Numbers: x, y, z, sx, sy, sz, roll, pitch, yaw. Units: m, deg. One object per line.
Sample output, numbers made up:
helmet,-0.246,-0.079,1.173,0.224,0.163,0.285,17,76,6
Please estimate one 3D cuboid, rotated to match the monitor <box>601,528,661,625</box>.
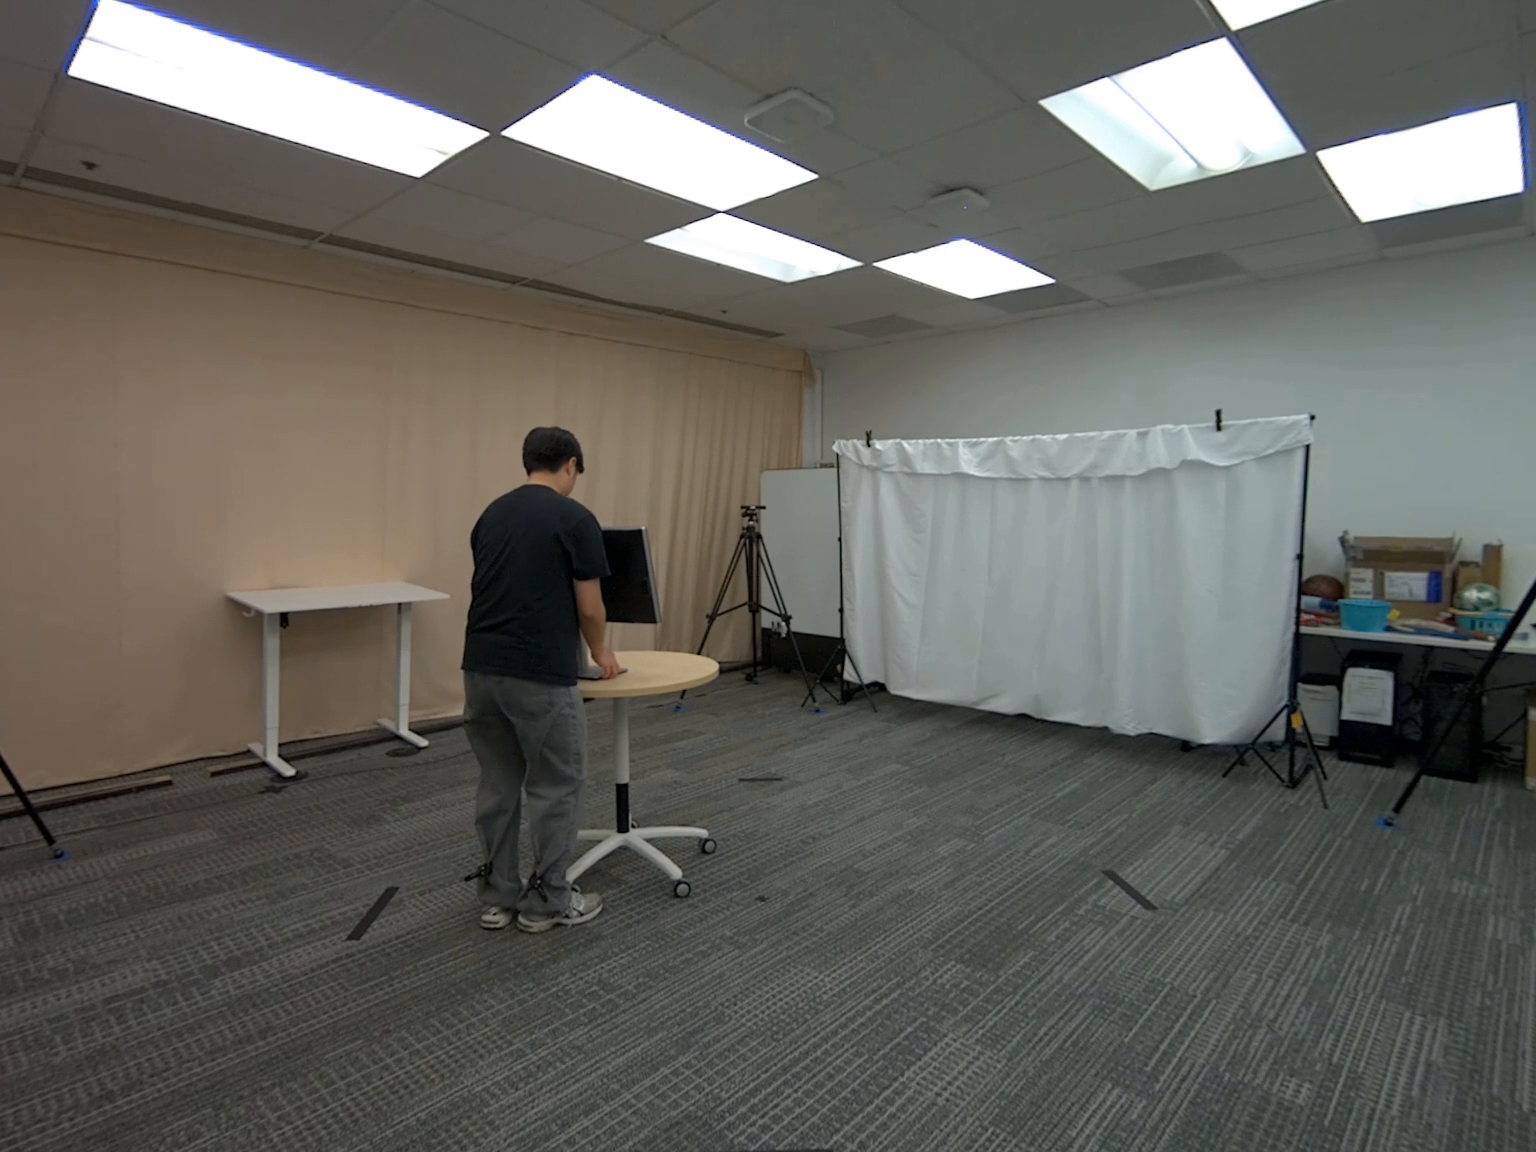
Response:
monitor,-0.678,0.101,3.121,0.578,0.566,0.216,1,0,31
